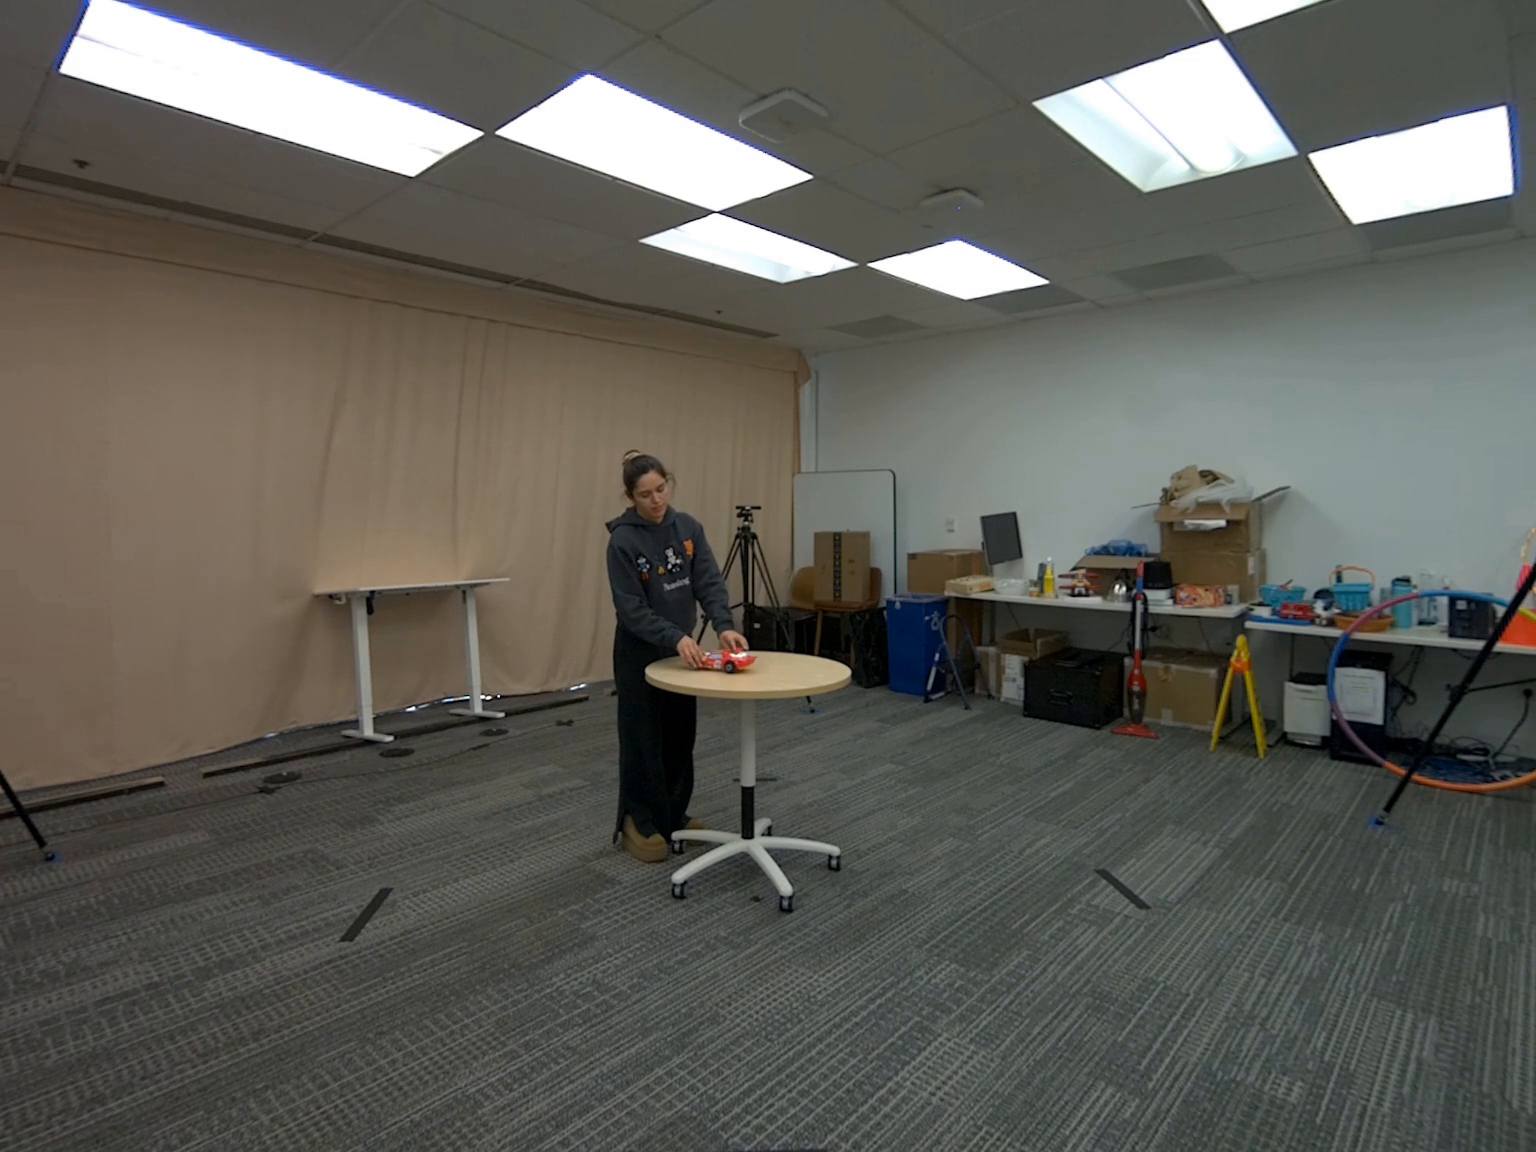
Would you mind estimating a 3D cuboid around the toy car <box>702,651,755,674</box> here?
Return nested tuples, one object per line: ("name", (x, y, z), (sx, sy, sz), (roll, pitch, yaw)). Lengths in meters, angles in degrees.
("toy car", (-0.144, 0.320, 3.122), (0.260, 0.083, 0.127), (-11, 0, 23))
